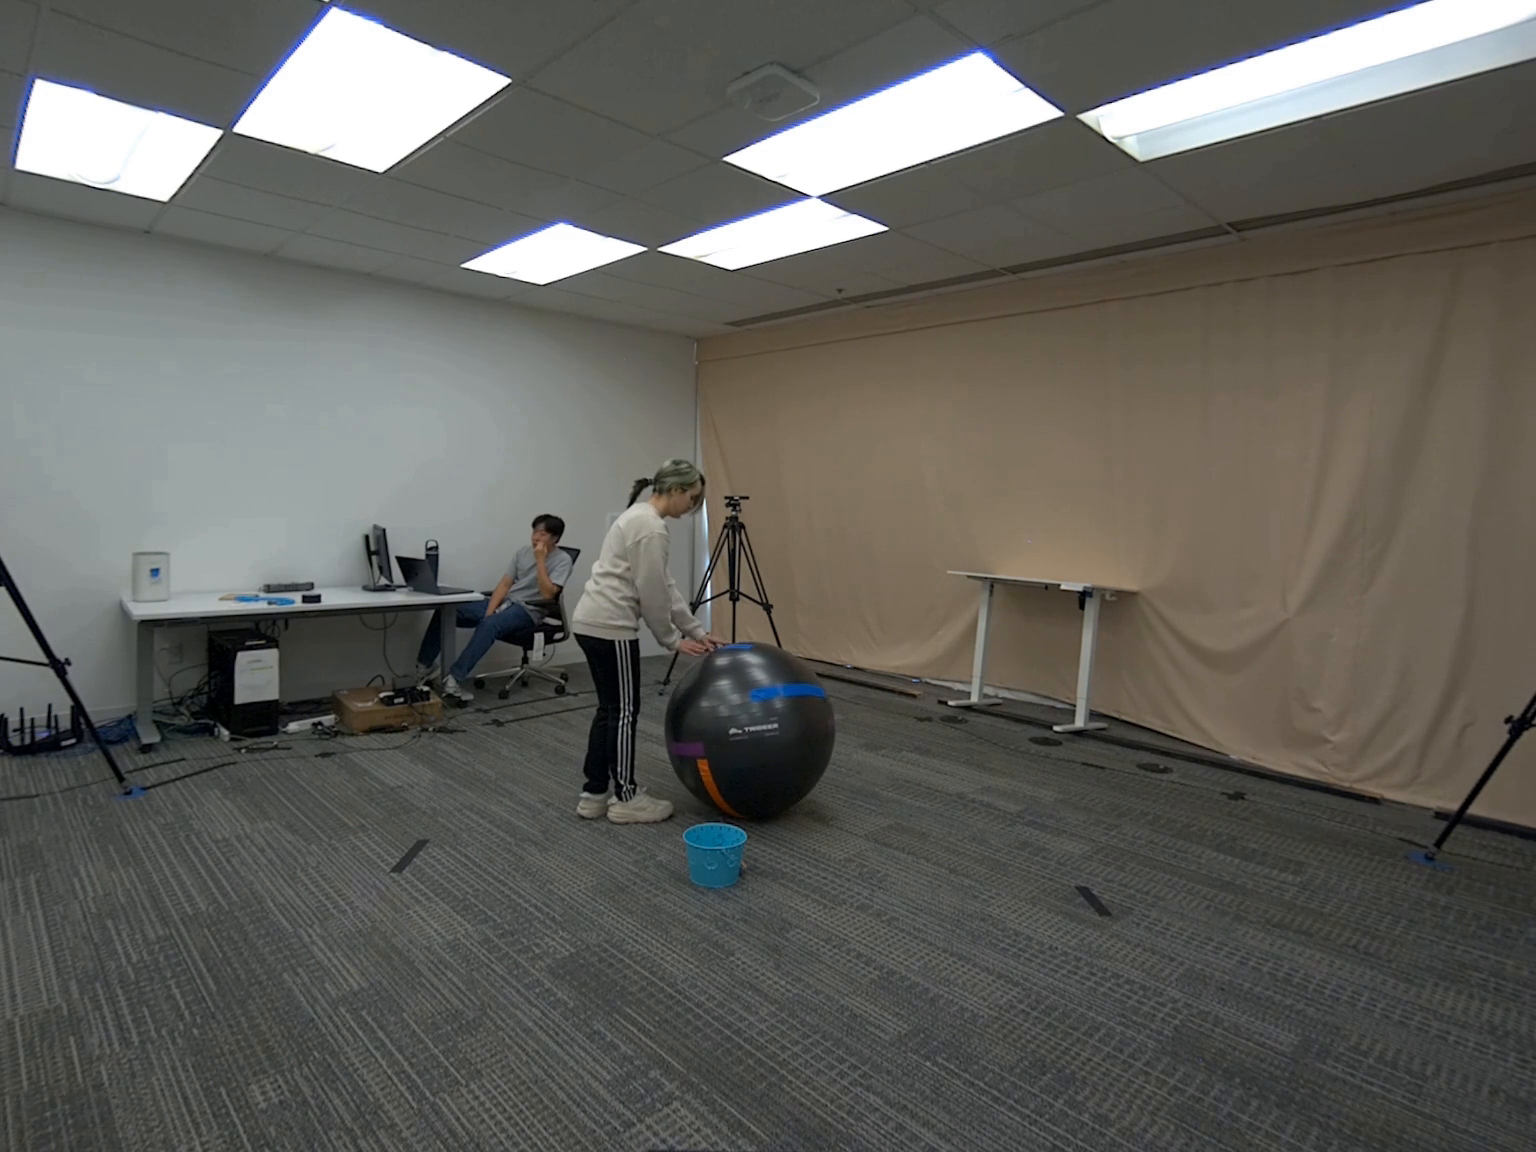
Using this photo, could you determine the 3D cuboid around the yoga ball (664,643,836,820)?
[{"bbox_3d":[-0.090,0.677,3.738,0.757,0.756,0.761,1,4,-1],"label":"yoga ball"}]
